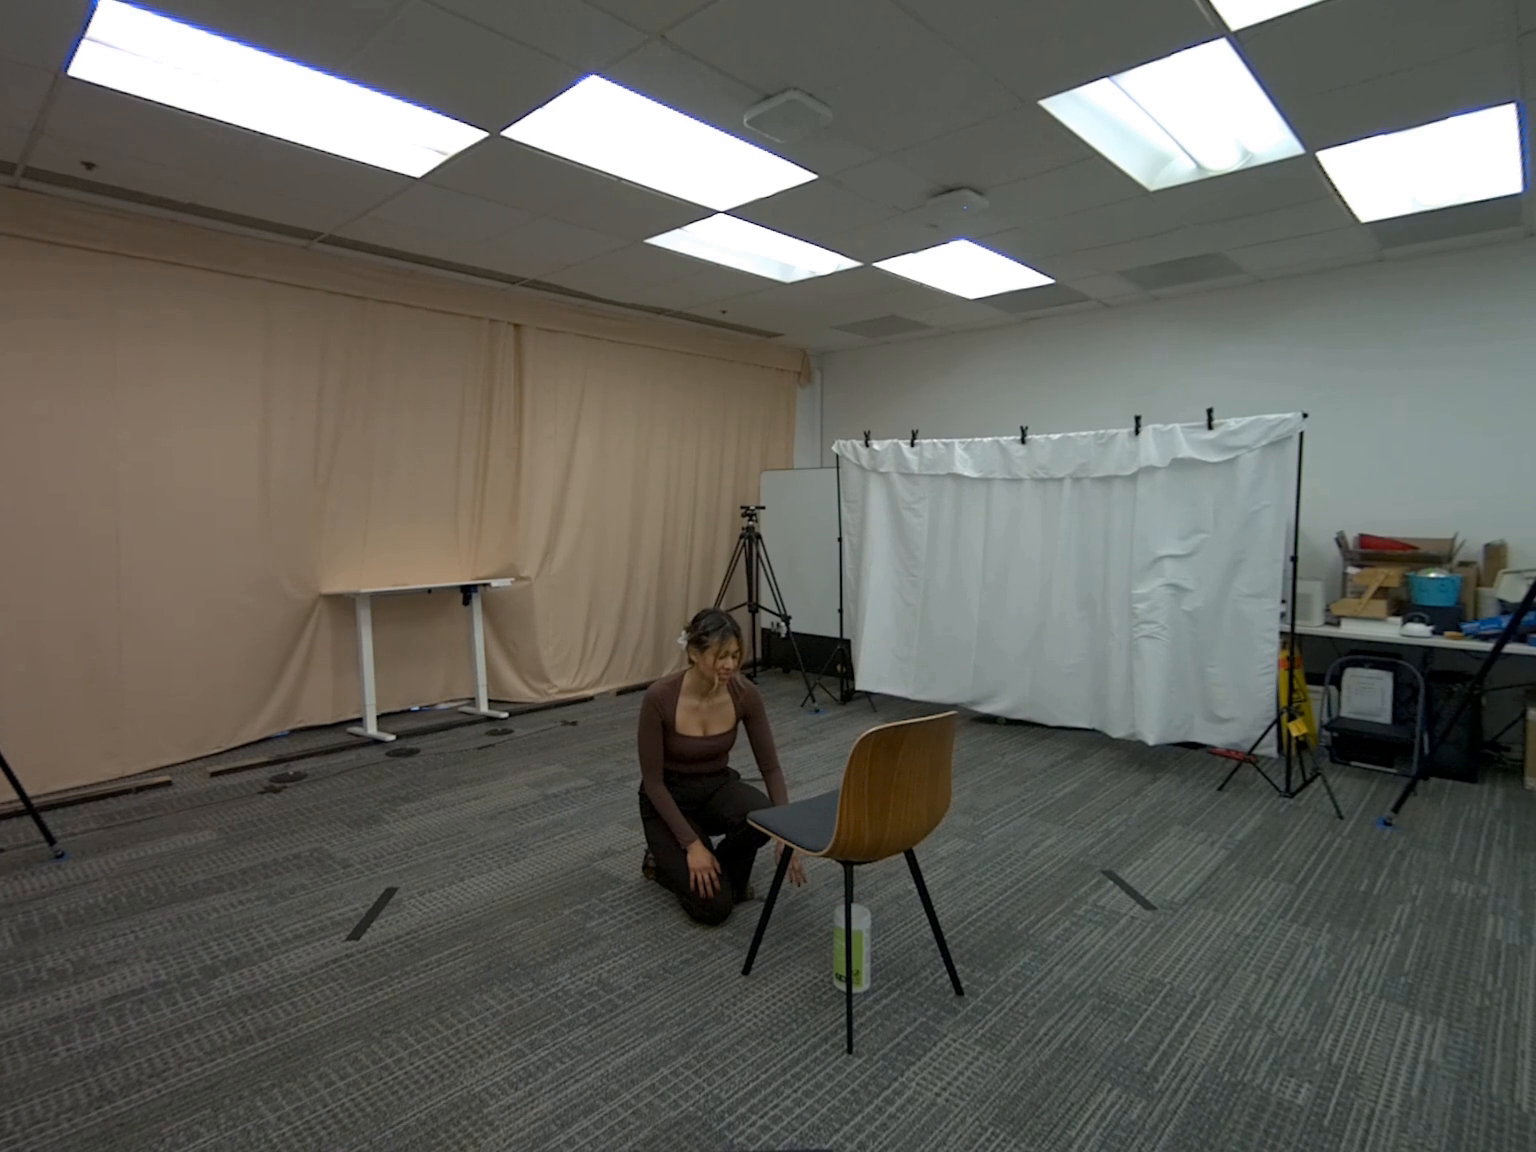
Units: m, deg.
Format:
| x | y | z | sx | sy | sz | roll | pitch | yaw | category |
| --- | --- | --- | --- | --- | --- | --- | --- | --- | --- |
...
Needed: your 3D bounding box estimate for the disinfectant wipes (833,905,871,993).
| x | y | z | sx | sy | sz | roll | pitch | yaw | category |
| --- | --- | --- | --- | --- | --- | --- | --- | --- | --- |
| 0.246 | 1.091 | 2.439 | 0.118 | 0.217 | 0.118 | -1 | 2 | -2 | disinfectant wipes |
